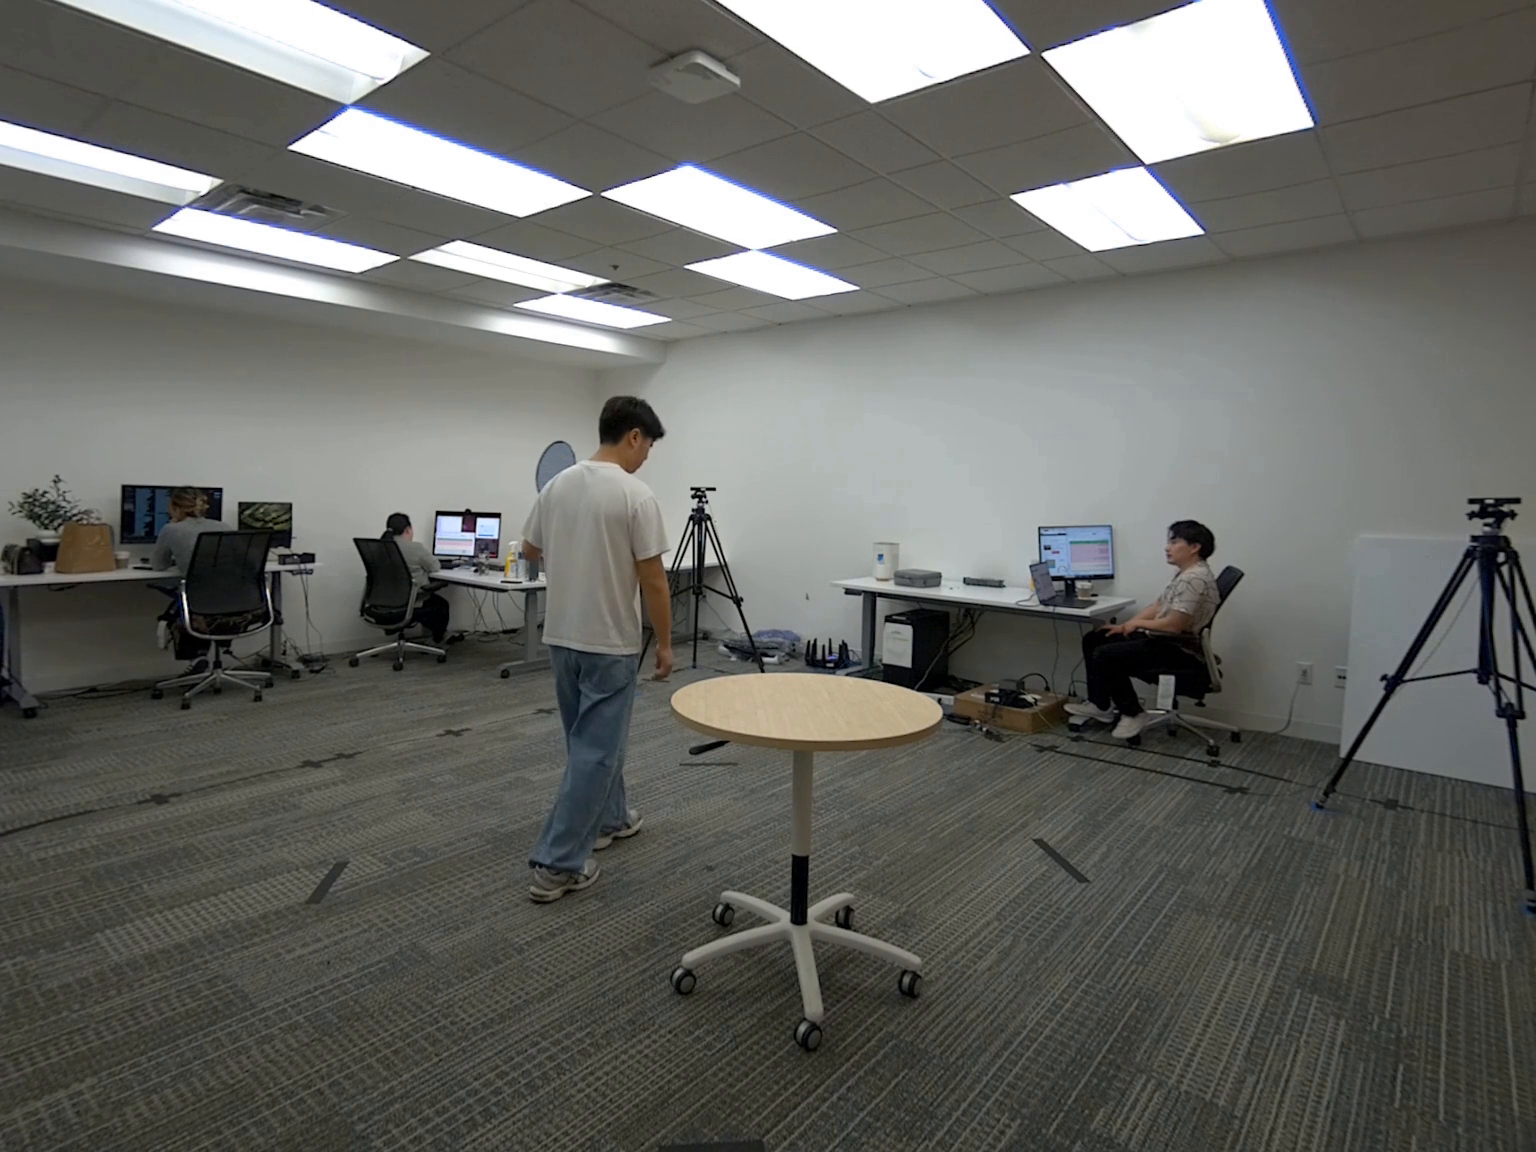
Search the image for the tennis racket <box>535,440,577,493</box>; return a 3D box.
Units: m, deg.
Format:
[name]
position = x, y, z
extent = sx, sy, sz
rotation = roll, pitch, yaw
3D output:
[tennis racket]
position = -0.883, -0.351, 3.515
extent = 0.220, 0.436, 0.030
rotation = 2, -11, 30
